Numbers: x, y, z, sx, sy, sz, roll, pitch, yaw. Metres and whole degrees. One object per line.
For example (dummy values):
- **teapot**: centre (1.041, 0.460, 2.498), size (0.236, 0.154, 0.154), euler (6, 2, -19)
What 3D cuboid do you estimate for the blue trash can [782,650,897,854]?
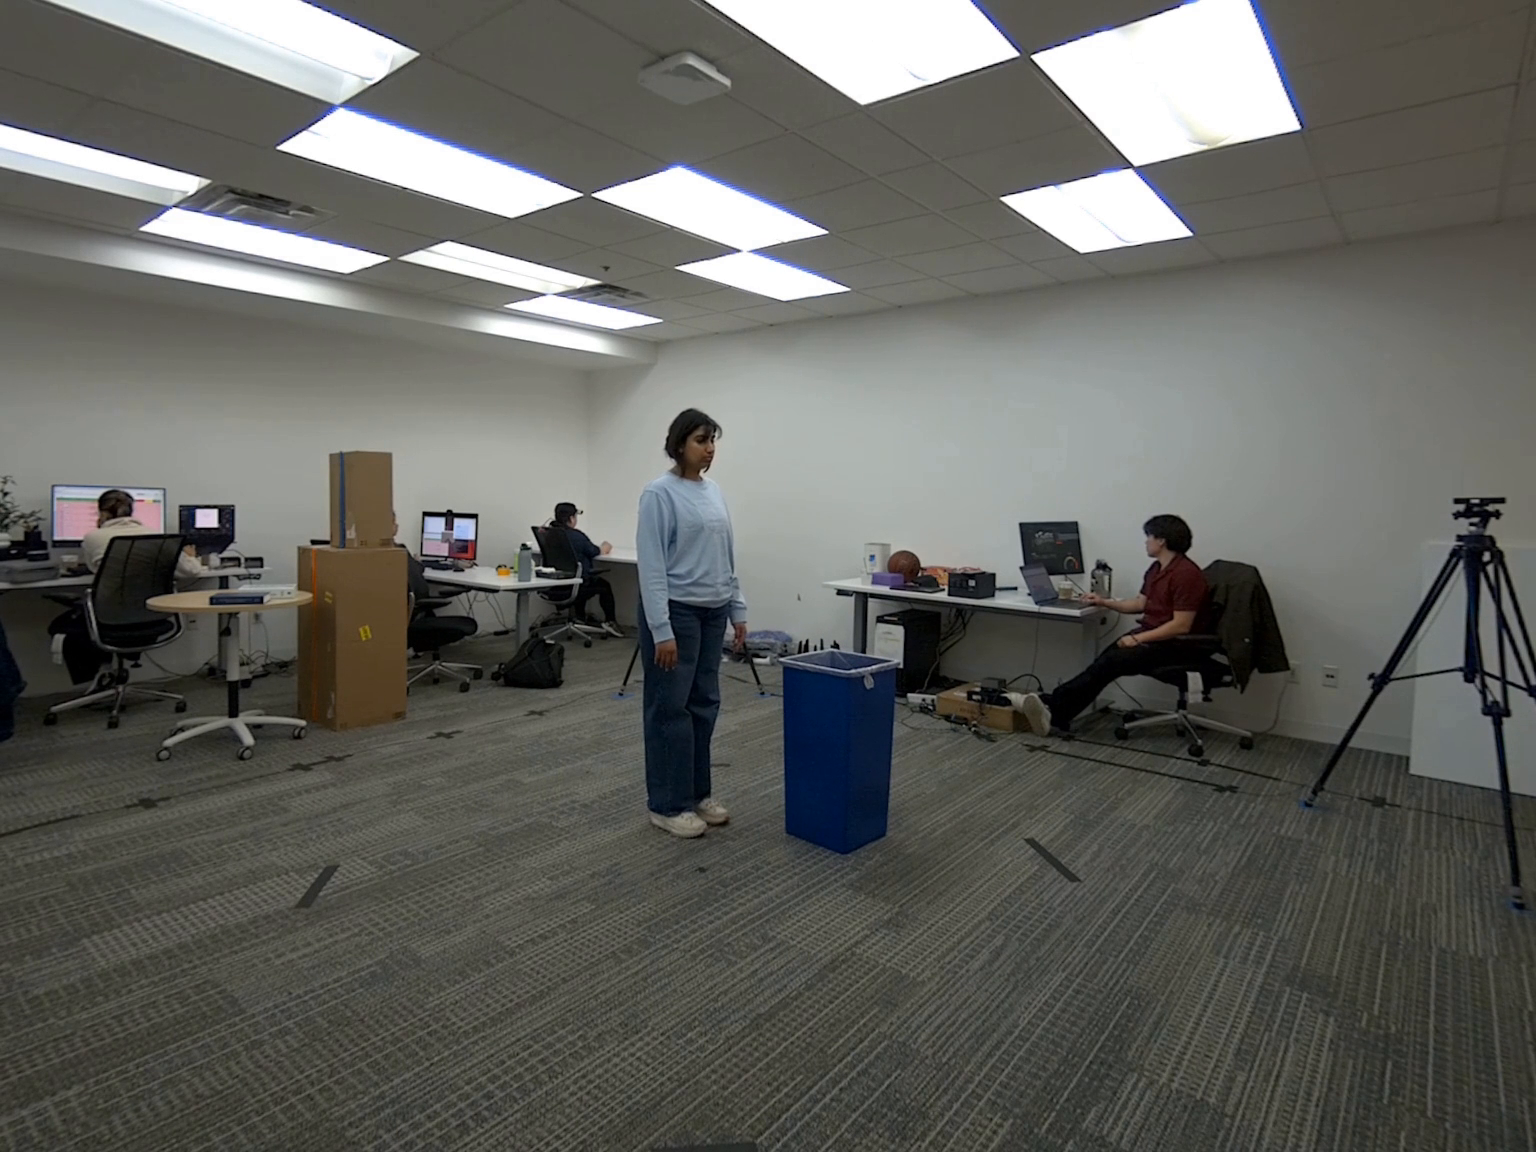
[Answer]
- **blue trash can**: centre (0.267, 0.689, 3.453), size (0.387, 0.712, 0.366), euler (4, 4, 42)
